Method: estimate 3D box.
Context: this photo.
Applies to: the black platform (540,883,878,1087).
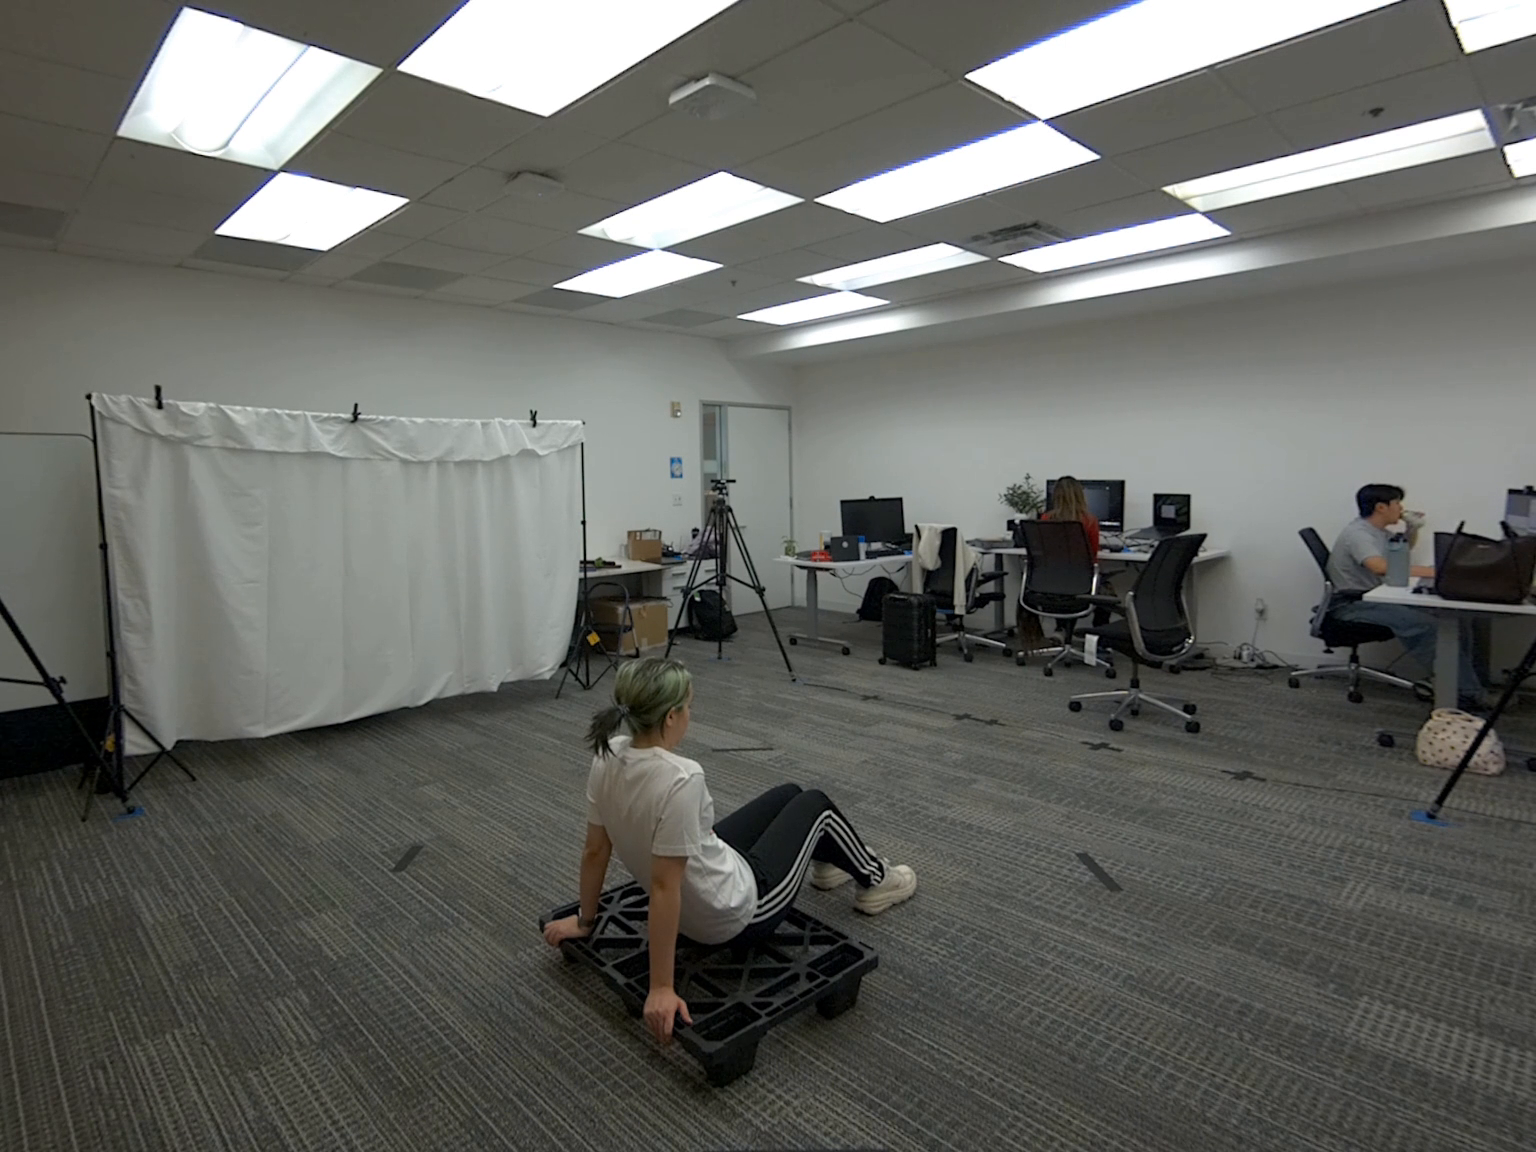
[{"bbox_3d":[-0.187,1.065,2.396,0.589,0.142,0.831,-6,8,-40],"label":"black platform"}]
